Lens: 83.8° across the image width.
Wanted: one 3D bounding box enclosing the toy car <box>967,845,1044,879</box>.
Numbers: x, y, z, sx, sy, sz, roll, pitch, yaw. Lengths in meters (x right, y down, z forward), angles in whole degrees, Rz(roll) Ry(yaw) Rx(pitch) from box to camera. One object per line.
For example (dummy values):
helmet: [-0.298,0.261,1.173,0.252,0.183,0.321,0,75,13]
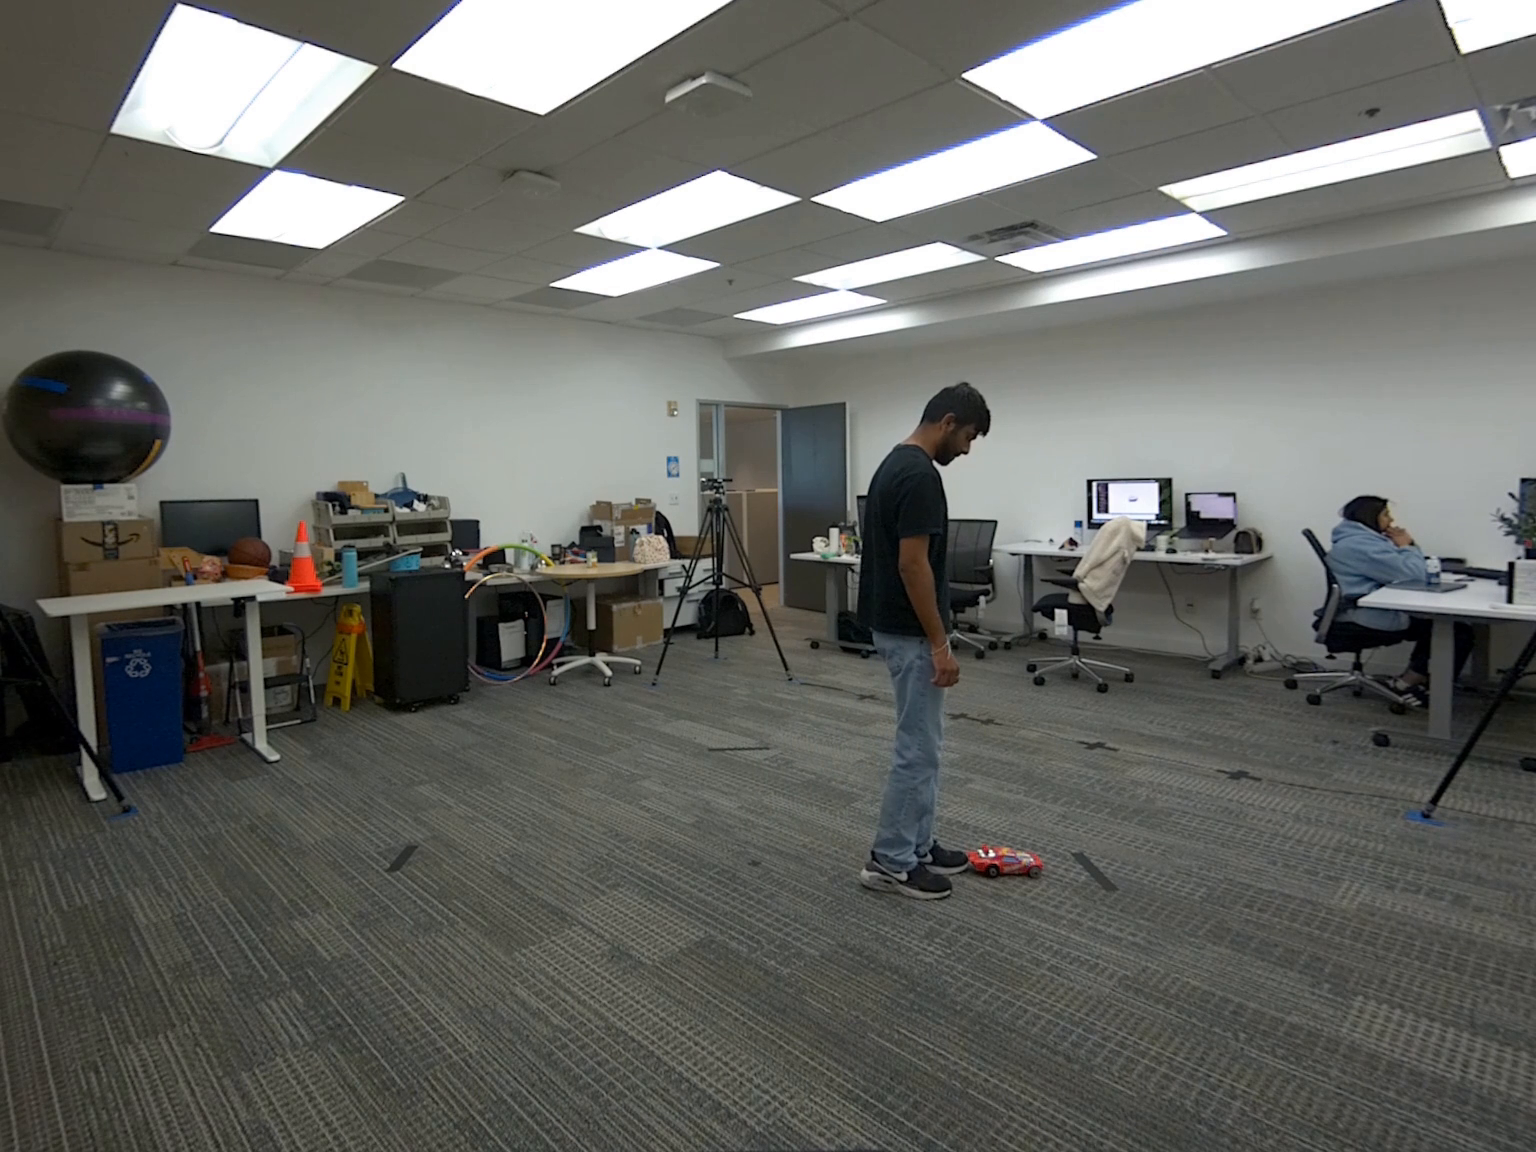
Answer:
toy car: [0.822,1.000,3.006,0.255,0.083,0.130,12,5,2]
